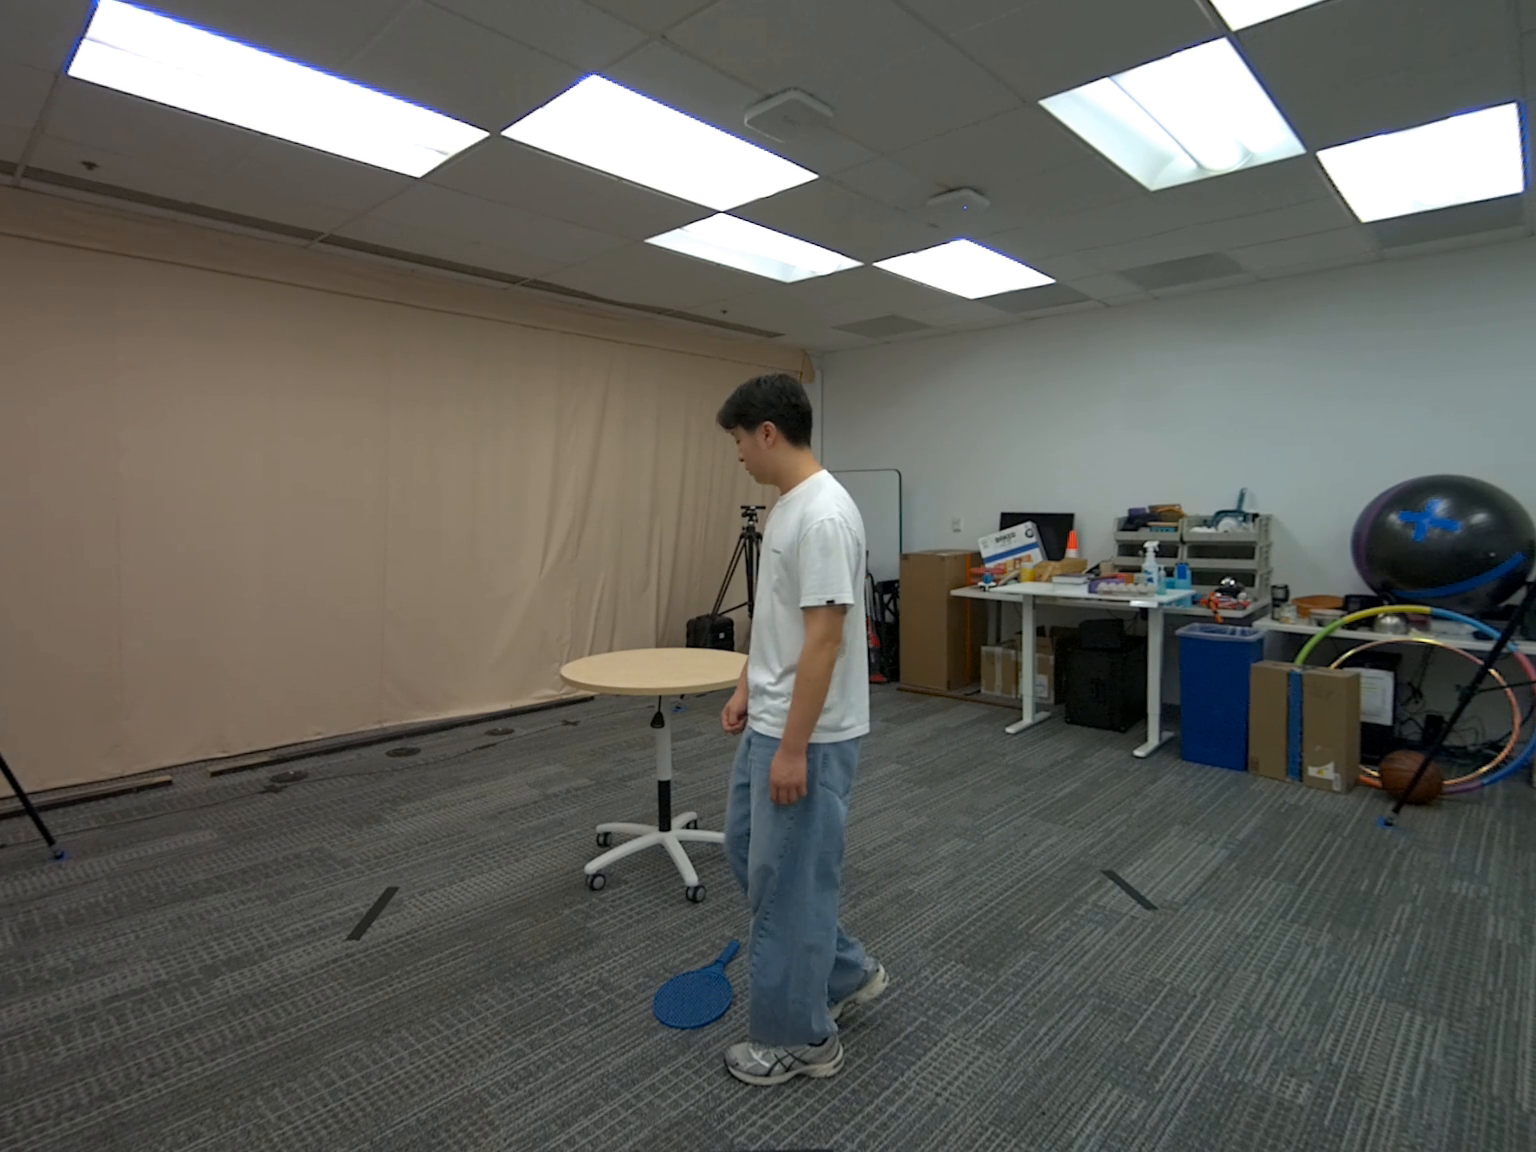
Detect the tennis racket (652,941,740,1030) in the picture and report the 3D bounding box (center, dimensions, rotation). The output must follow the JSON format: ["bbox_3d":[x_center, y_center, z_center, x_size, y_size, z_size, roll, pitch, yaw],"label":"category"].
[{"bbox_3d":[-0.176,1.177,2.440,0.219,0.031,0.424,2,7,24],"label":"tennis racket"}]
